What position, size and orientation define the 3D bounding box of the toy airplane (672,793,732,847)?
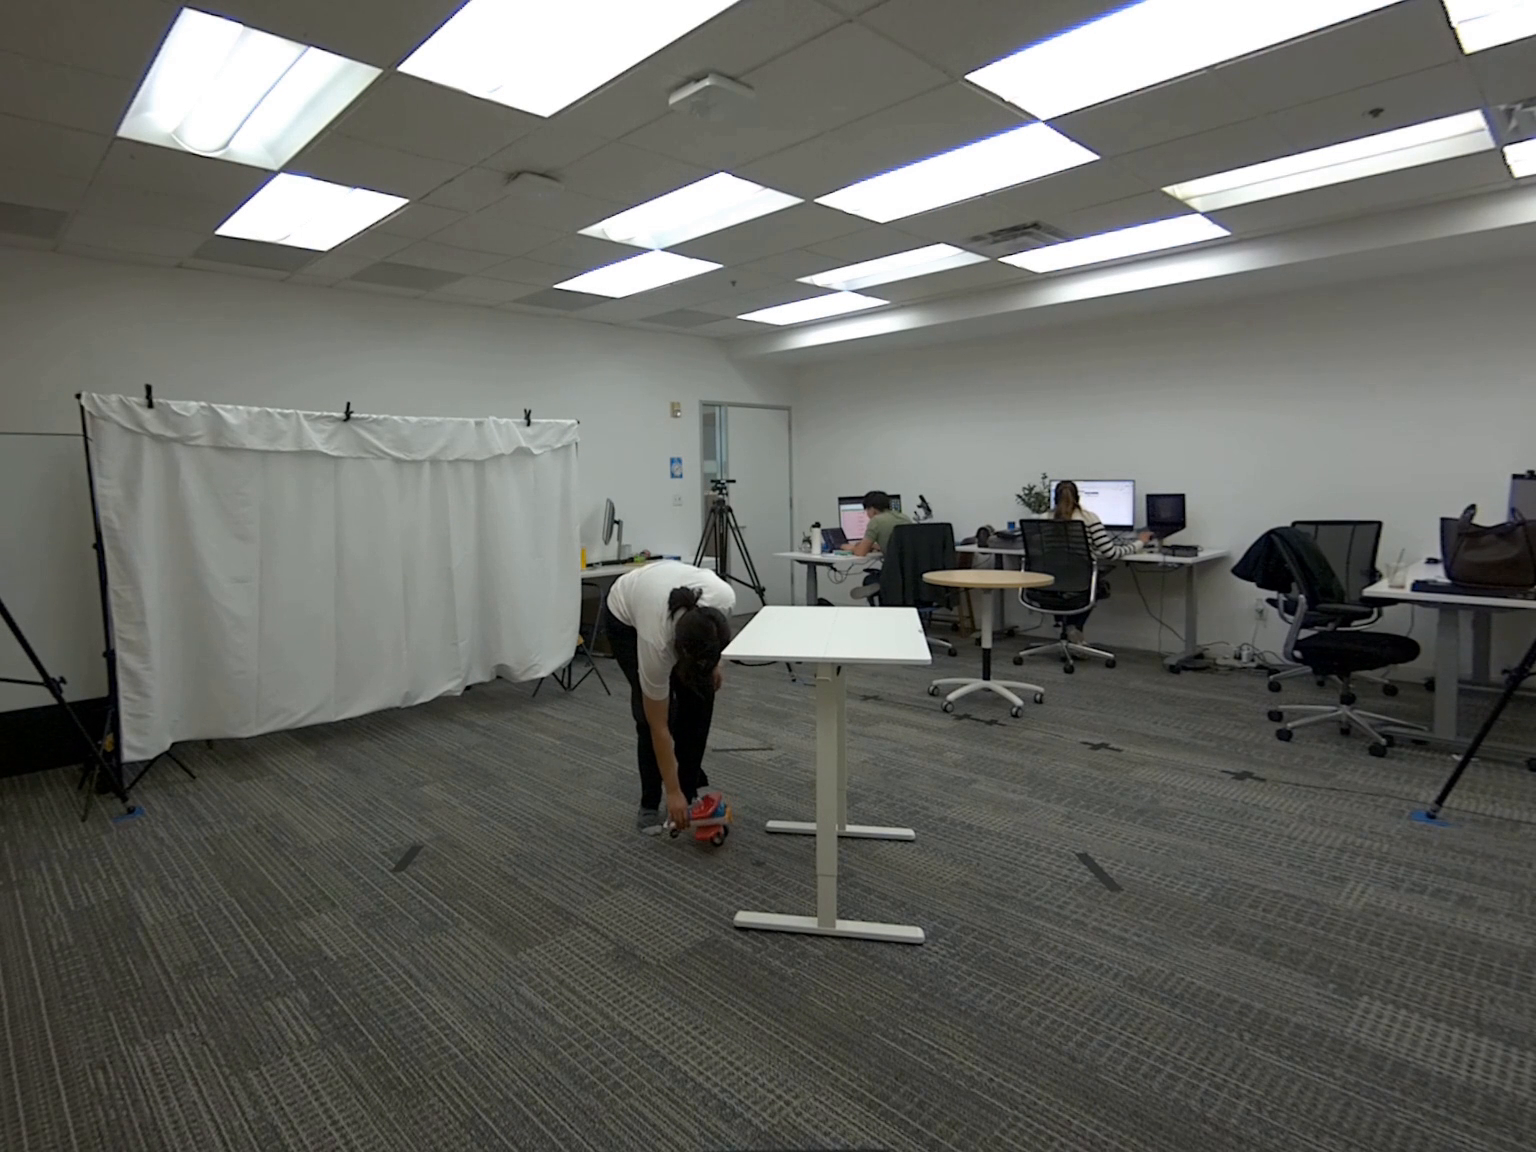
[{"bbox_3d":[-0.264,0.944,3.253,0.255,0.156,0.256,1,4,-19],"label":"toy airplane"}]
